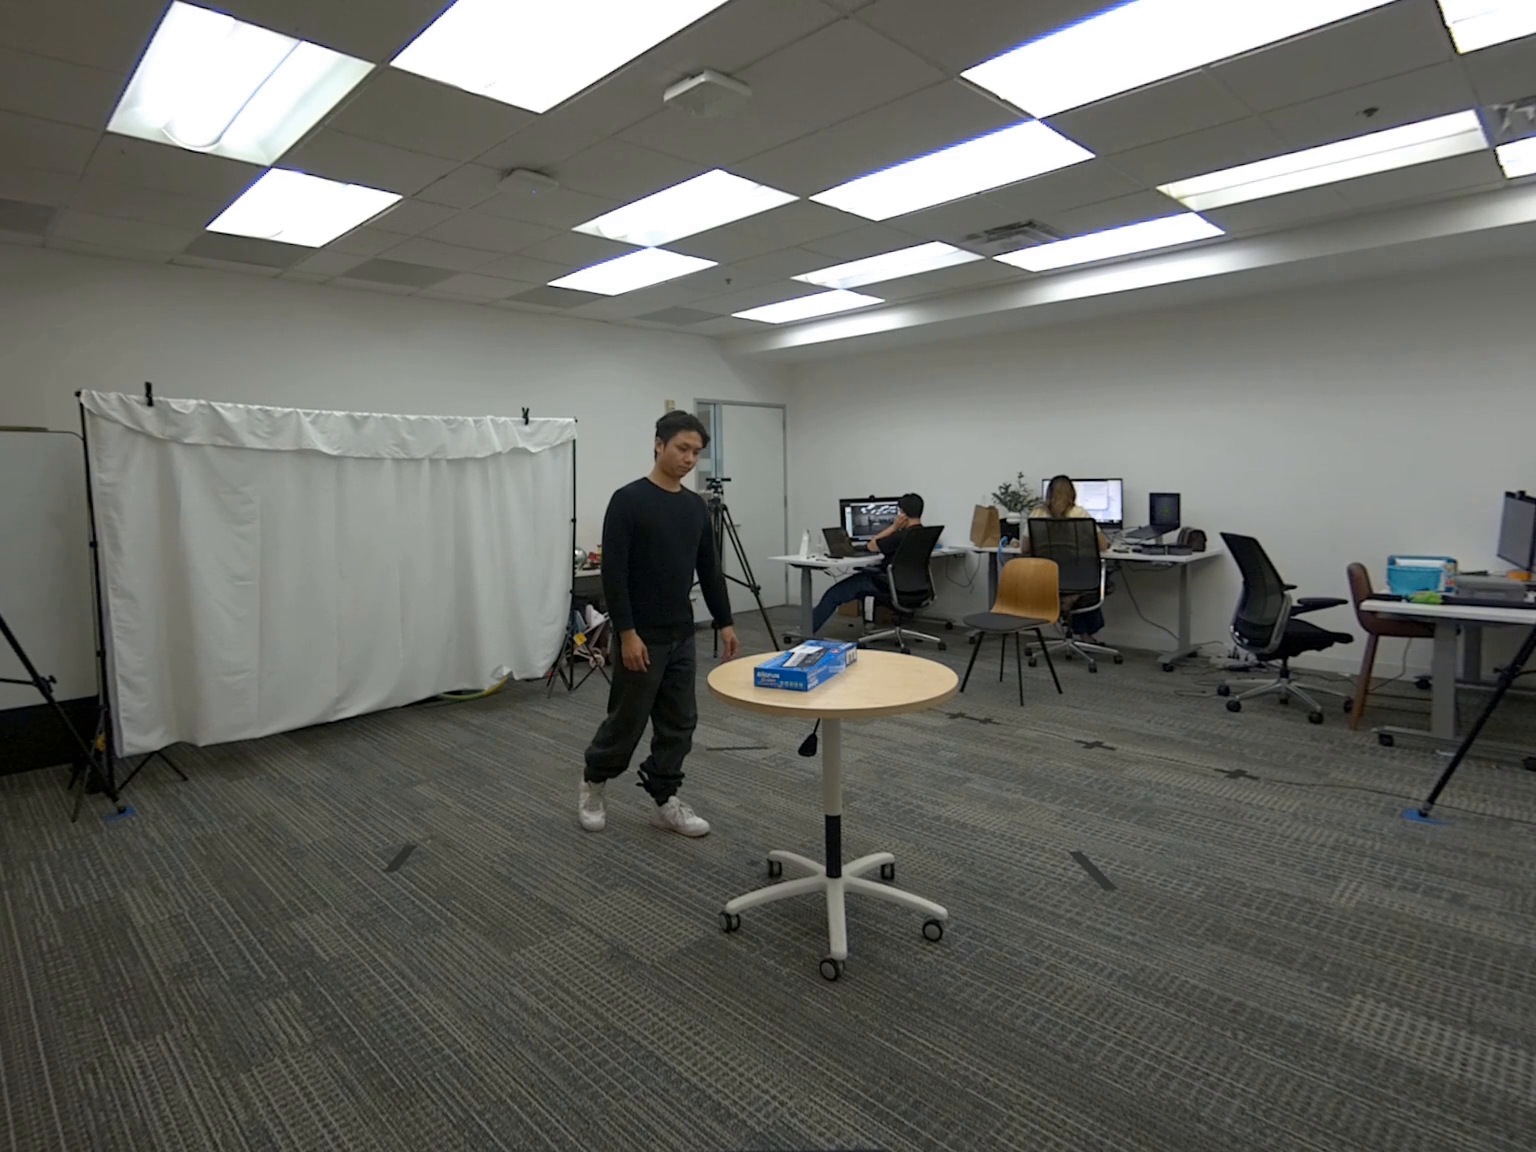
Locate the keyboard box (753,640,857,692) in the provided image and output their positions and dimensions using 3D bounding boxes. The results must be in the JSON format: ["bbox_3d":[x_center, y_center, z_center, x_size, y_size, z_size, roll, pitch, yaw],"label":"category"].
[{"bbox_3d":[0.127,0.273,2.687,0.180,0.059,0.429,1,7,25],"label":"keyboard box"}]
